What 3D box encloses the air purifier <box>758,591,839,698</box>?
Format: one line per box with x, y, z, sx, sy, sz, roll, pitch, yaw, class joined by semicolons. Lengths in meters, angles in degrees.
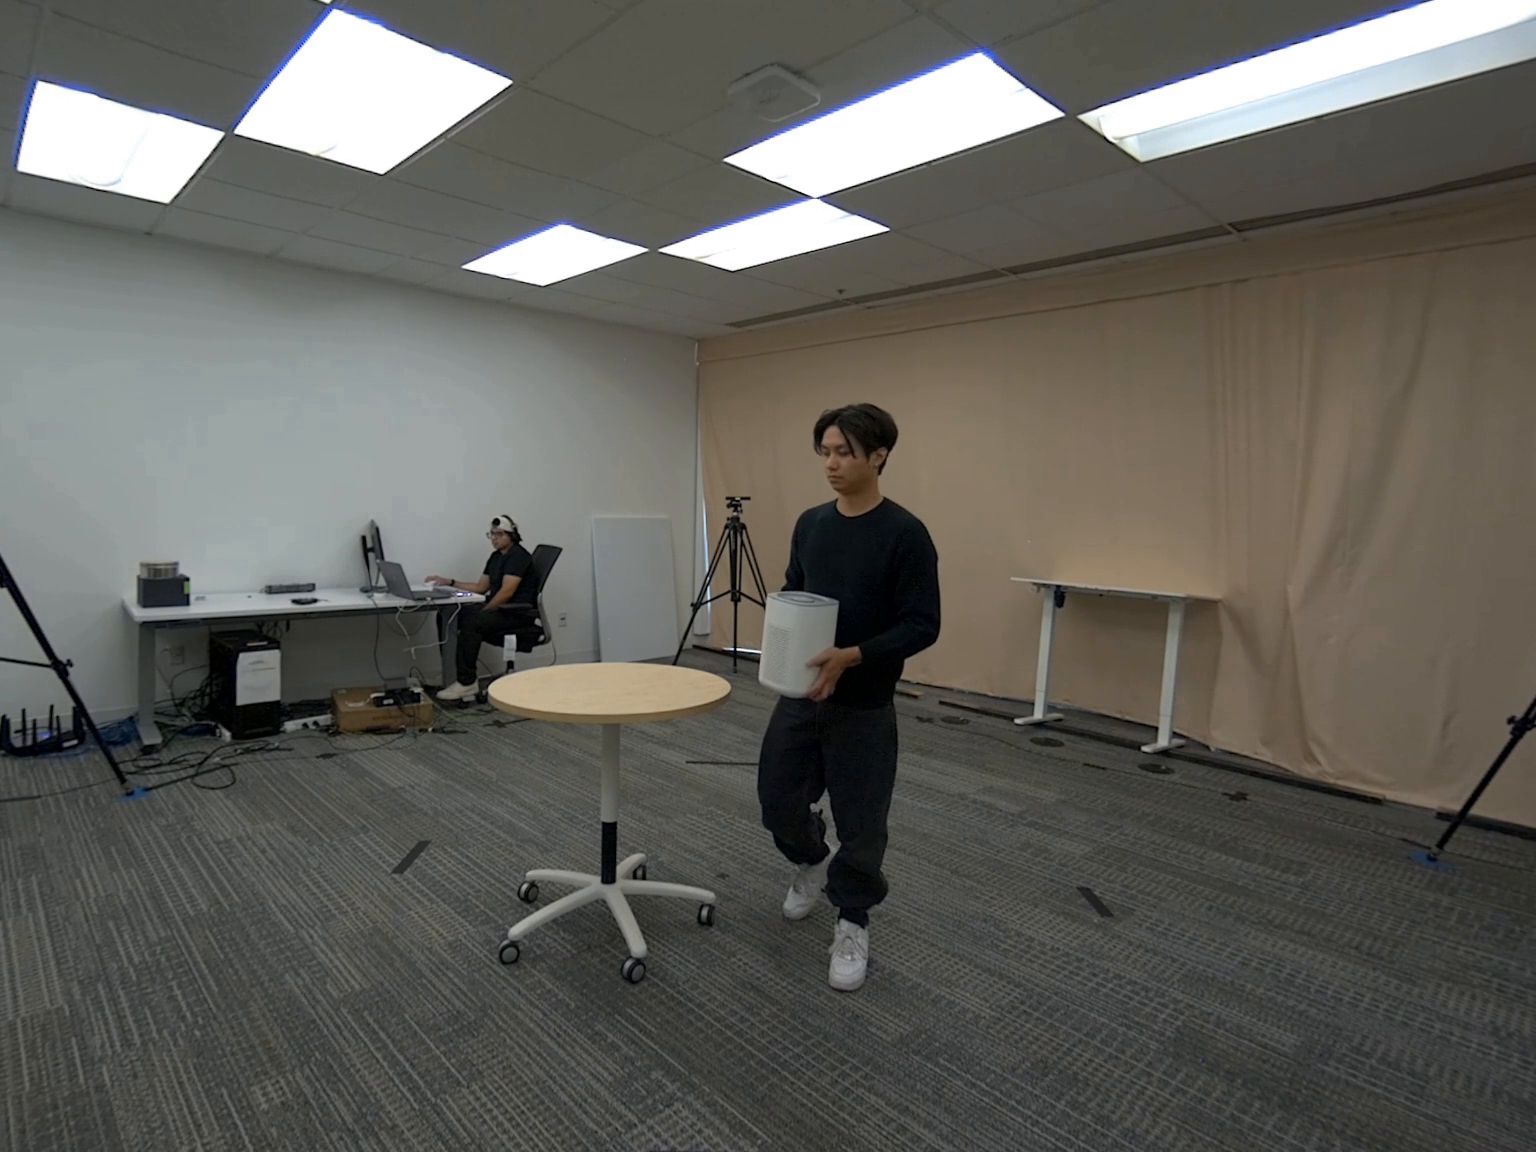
0.068;0.182;2.360;0.167;0.264;0.176;2;7;-36;air purifier
